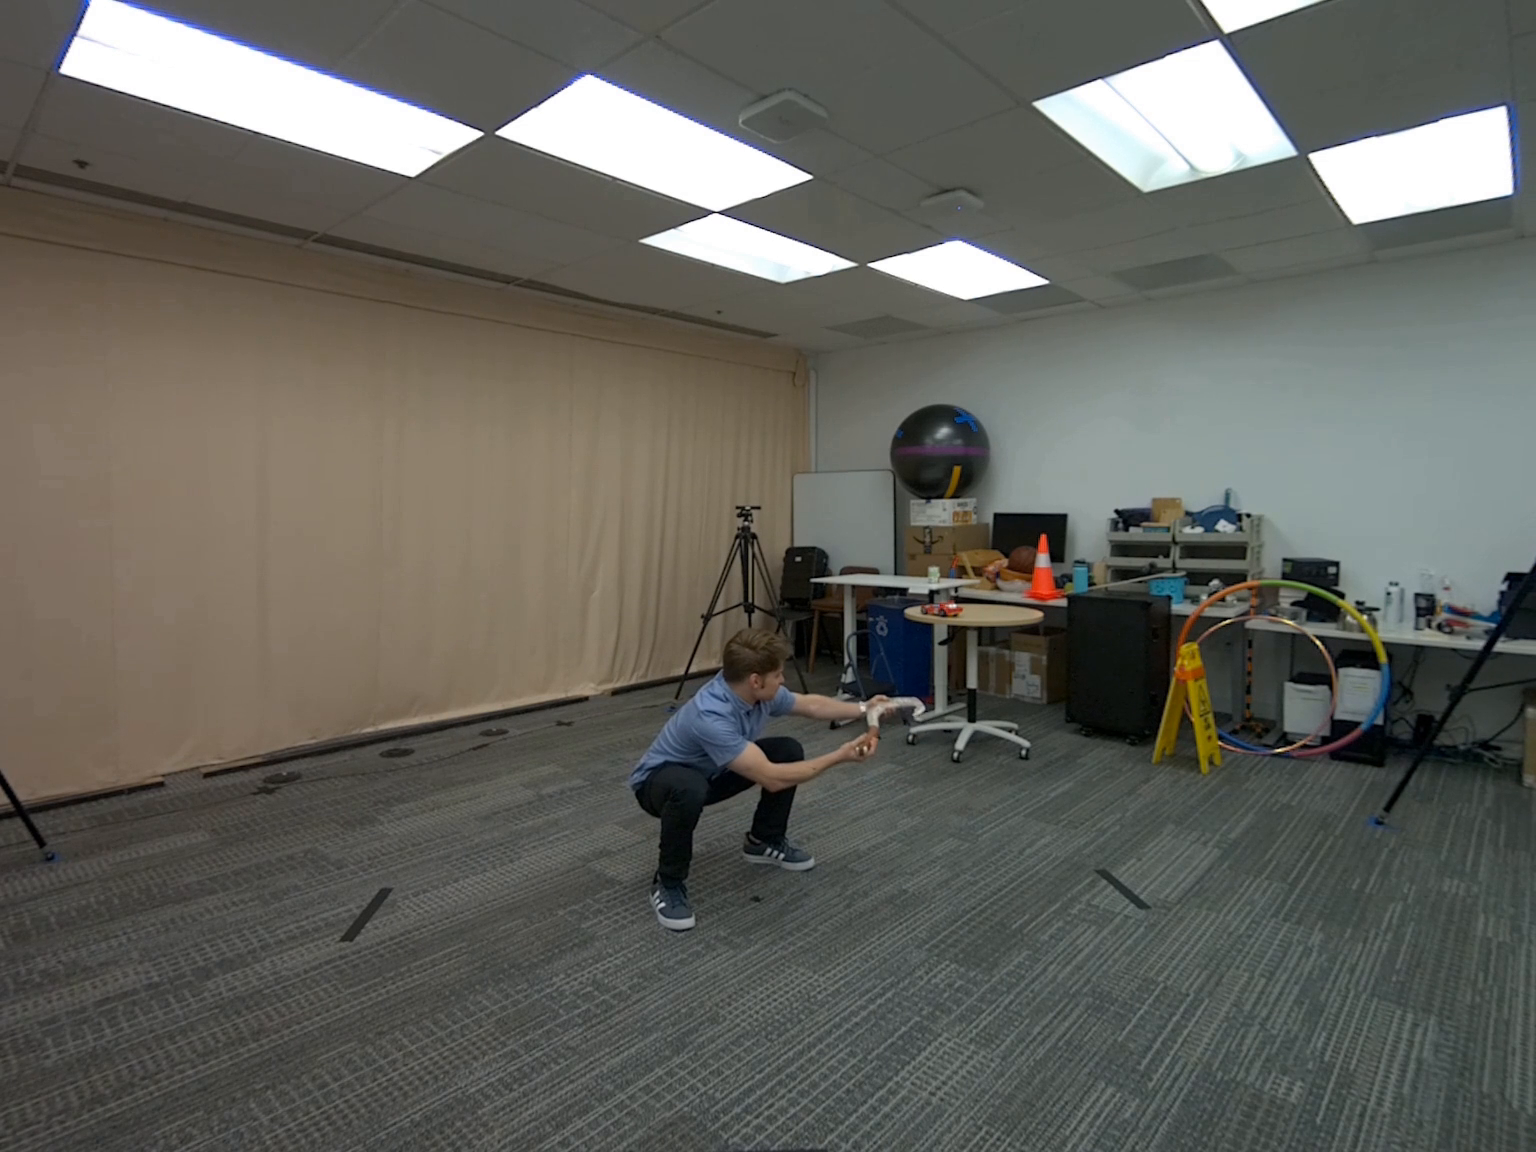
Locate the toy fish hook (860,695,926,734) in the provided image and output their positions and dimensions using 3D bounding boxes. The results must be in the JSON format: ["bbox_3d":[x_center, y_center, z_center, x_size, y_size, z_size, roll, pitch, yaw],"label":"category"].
[{"bbox_3d":[0.457,0.554,3.120,0.228,0.048,0.501,-15,10,20],"label":"toy fish hook"}]
